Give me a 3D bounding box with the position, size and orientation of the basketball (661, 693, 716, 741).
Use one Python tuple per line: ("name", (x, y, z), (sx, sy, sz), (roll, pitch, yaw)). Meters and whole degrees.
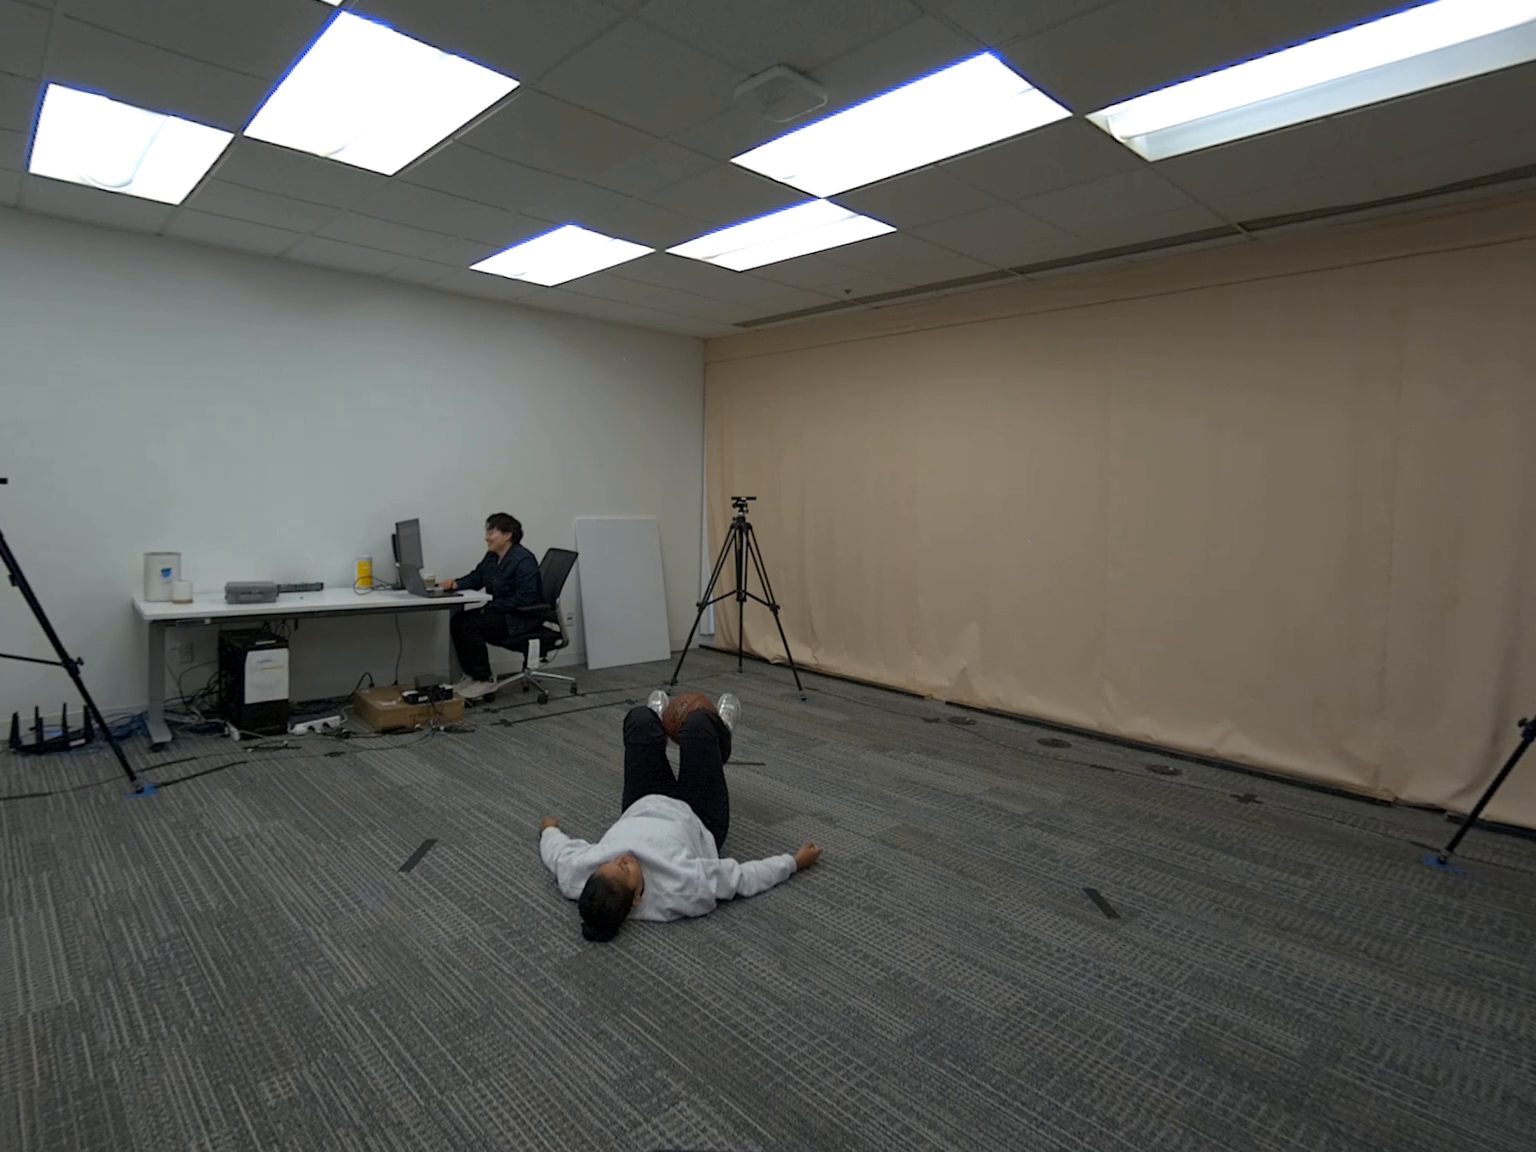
("basketball", (-0.344, 0.619, 3.679), (0.235, 0.235, 0.237), (4, 7, -2))
